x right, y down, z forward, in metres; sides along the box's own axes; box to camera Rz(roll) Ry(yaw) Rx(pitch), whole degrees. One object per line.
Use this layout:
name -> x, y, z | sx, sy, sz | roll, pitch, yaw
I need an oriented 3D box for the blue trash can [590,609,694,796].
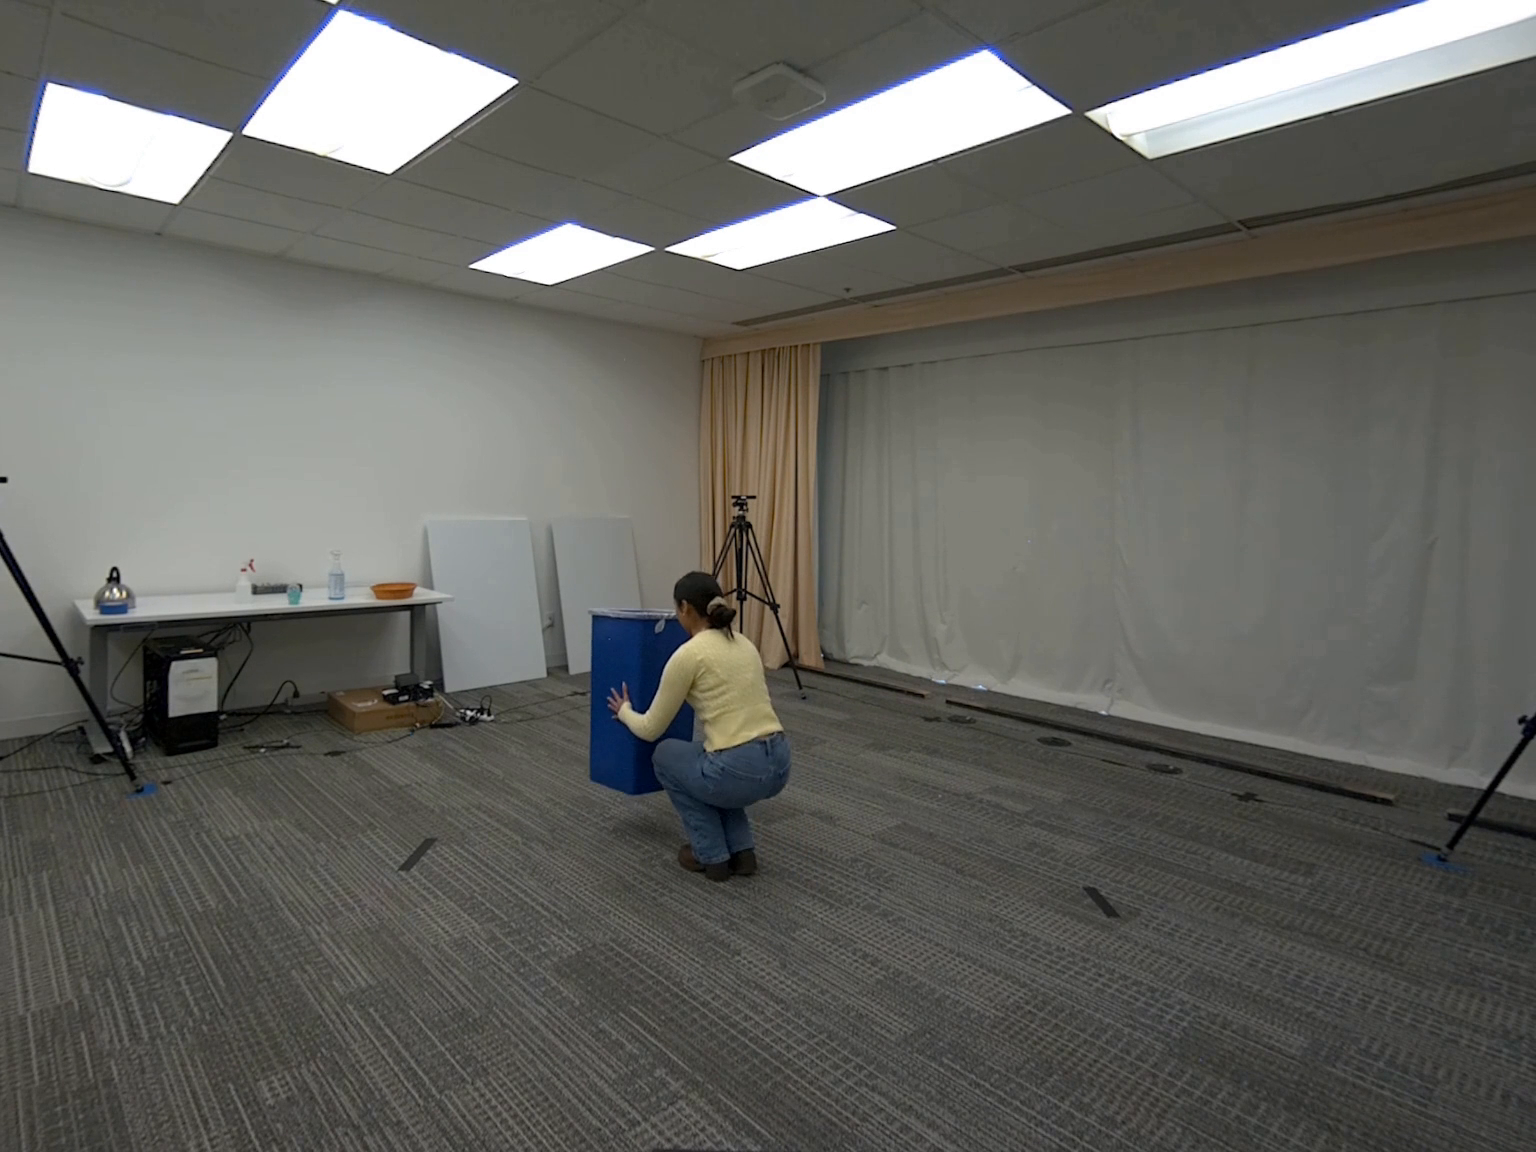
blue trash can -> -0.536, 0.500, 3.518 | 0.383, 0.714, 0.368 | 1, -2, 44
